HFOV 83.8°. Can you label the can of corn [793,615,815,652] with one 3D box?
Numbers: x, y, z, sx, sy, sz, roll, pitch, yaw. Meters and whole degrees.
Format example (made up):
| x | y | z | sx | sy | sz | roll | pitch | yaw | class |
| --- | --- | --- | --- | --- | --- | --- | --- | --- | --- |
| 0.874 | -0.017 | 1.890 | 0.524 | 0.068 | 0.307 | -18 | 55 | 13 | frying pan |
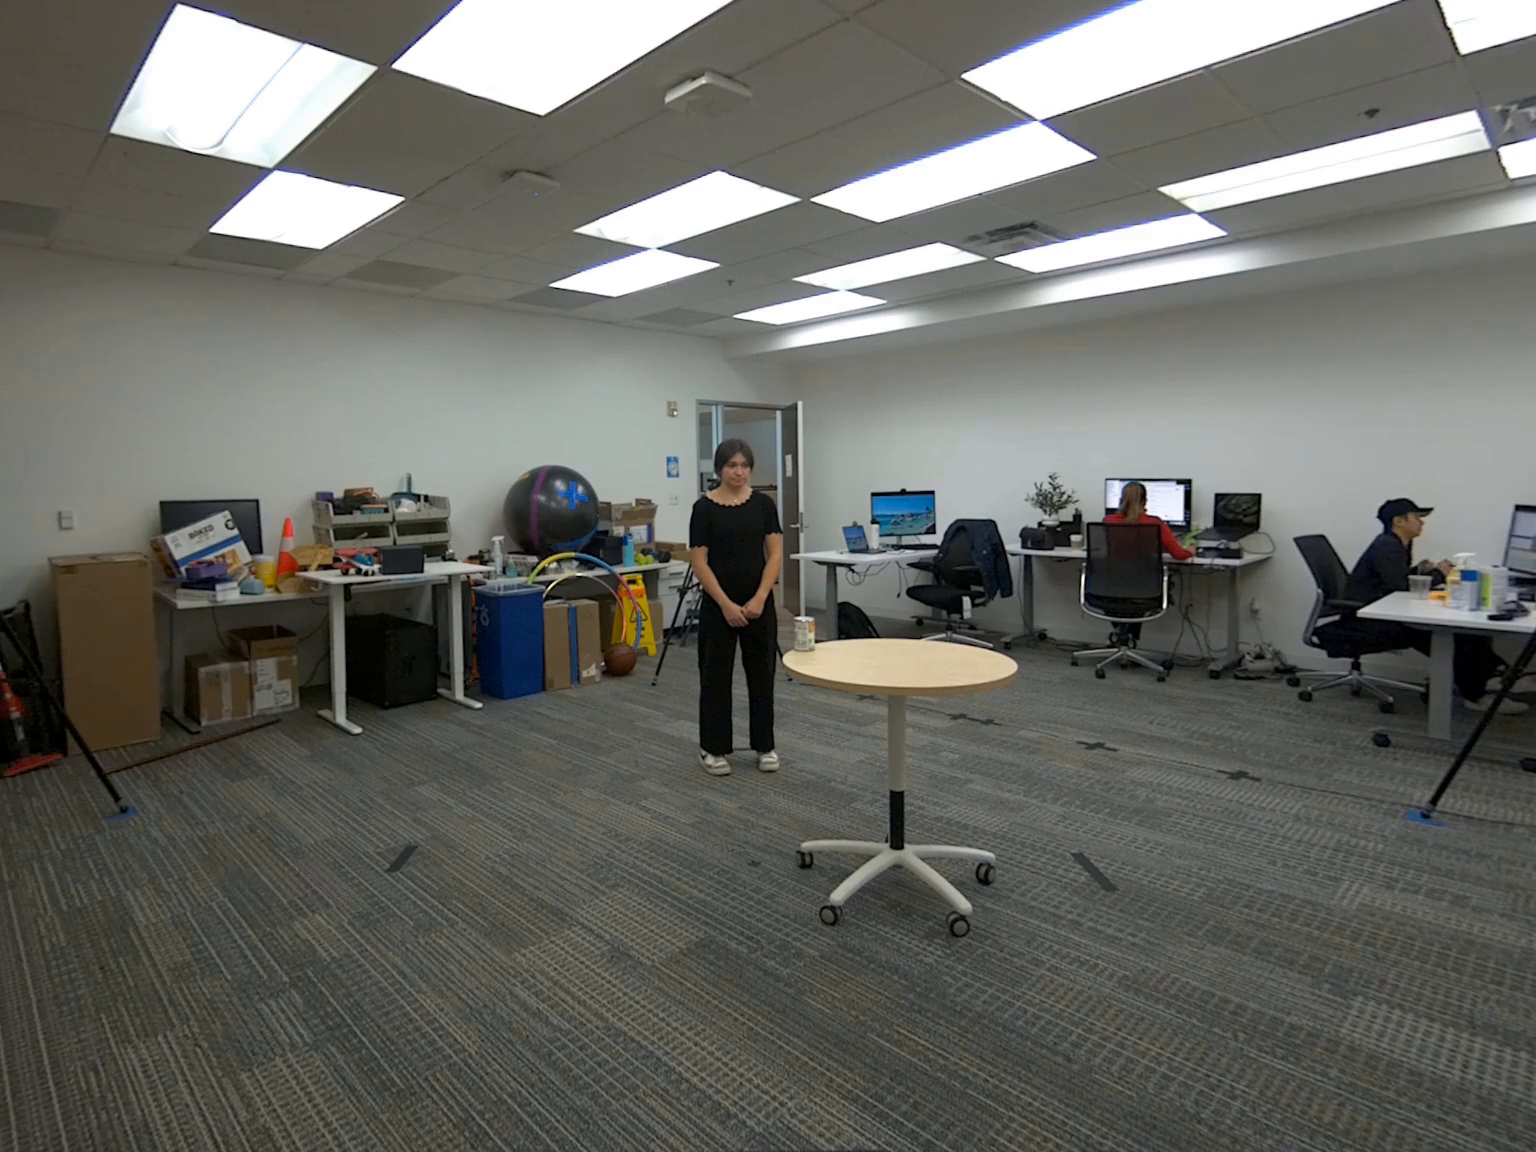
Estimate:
| x | y | z | sx | sy | sz | roll | pitch | yaw | class |
| --- | --- | --- | --- | --- | --- | --- | --- | --- | --- |
| 0.133 | 0.210 | 3.045 | 0.074 | 0.110 | 0.074 | -1 | 5 | -2 | can of corn |
